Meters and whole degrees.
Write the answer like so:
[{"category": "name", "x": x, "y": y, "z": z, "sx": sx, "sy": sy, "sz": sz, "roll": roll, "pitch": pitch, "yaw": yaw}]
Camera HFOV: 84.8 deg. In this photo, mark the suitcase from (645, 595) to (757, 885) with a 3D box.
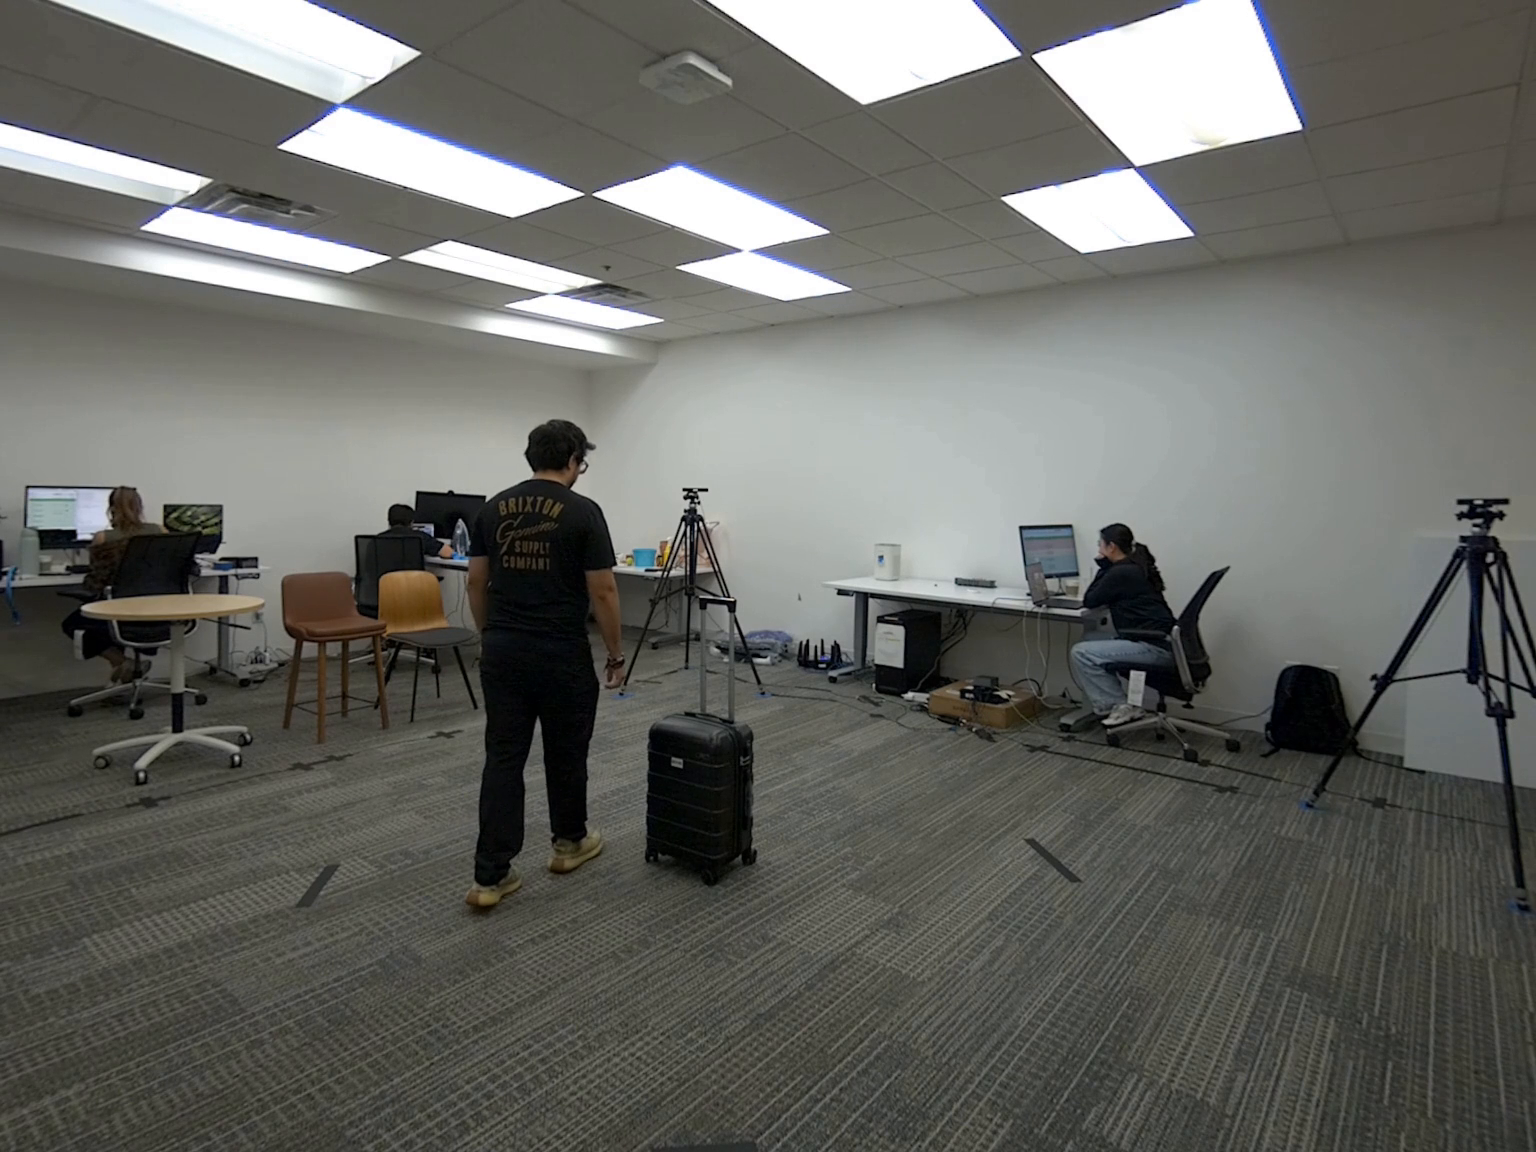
[{"category": "suitcase", "x": -0.254, "y": 0.591, "z": 3.126, "sx": 0.396, "sy": 0.974, "sz": 0.250, "roll": 3, "pitch": 5, "yaw": 32}]
